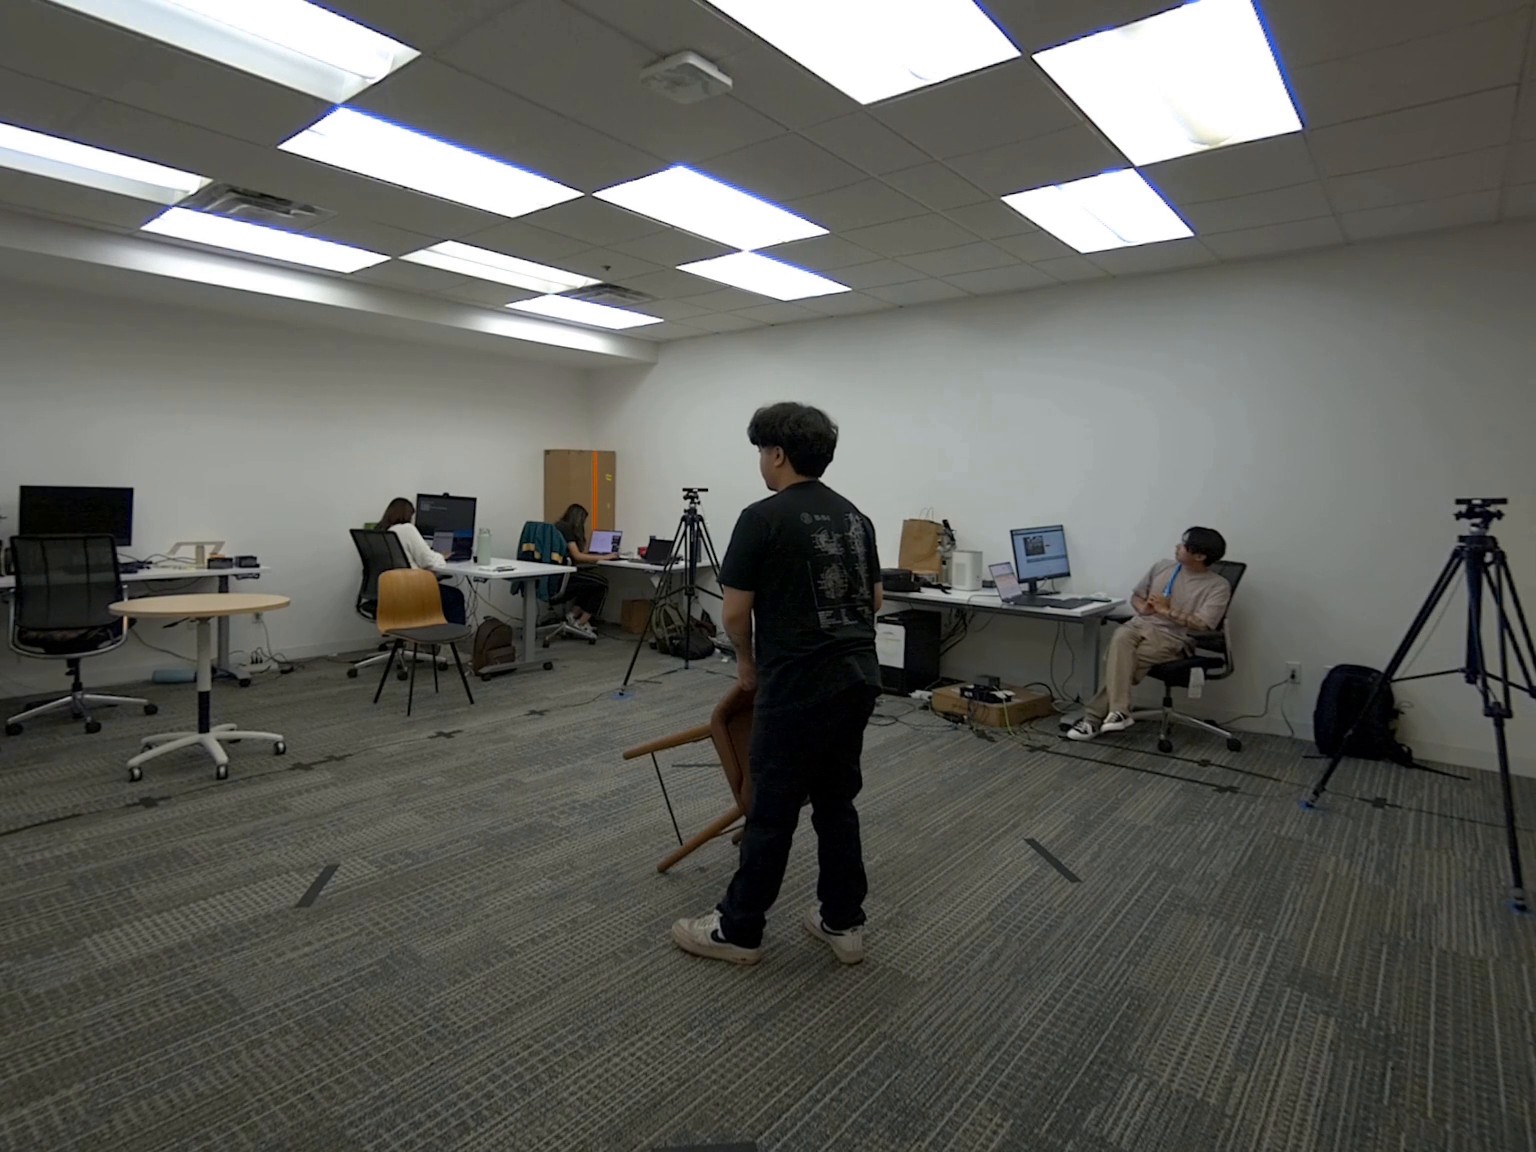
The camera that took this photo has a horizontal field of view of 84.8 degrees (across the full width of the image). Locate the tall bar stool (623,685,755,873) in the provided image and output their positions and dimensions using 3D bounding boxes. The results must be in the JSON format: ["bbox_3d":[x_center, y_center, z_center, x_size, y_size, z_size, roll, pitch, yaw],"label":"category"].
[{"bbox_3d":[-0.091,0.645,3.024,0.442,0.480,0.894,-2,-30,-47],"label":"tall bar stool"}]
